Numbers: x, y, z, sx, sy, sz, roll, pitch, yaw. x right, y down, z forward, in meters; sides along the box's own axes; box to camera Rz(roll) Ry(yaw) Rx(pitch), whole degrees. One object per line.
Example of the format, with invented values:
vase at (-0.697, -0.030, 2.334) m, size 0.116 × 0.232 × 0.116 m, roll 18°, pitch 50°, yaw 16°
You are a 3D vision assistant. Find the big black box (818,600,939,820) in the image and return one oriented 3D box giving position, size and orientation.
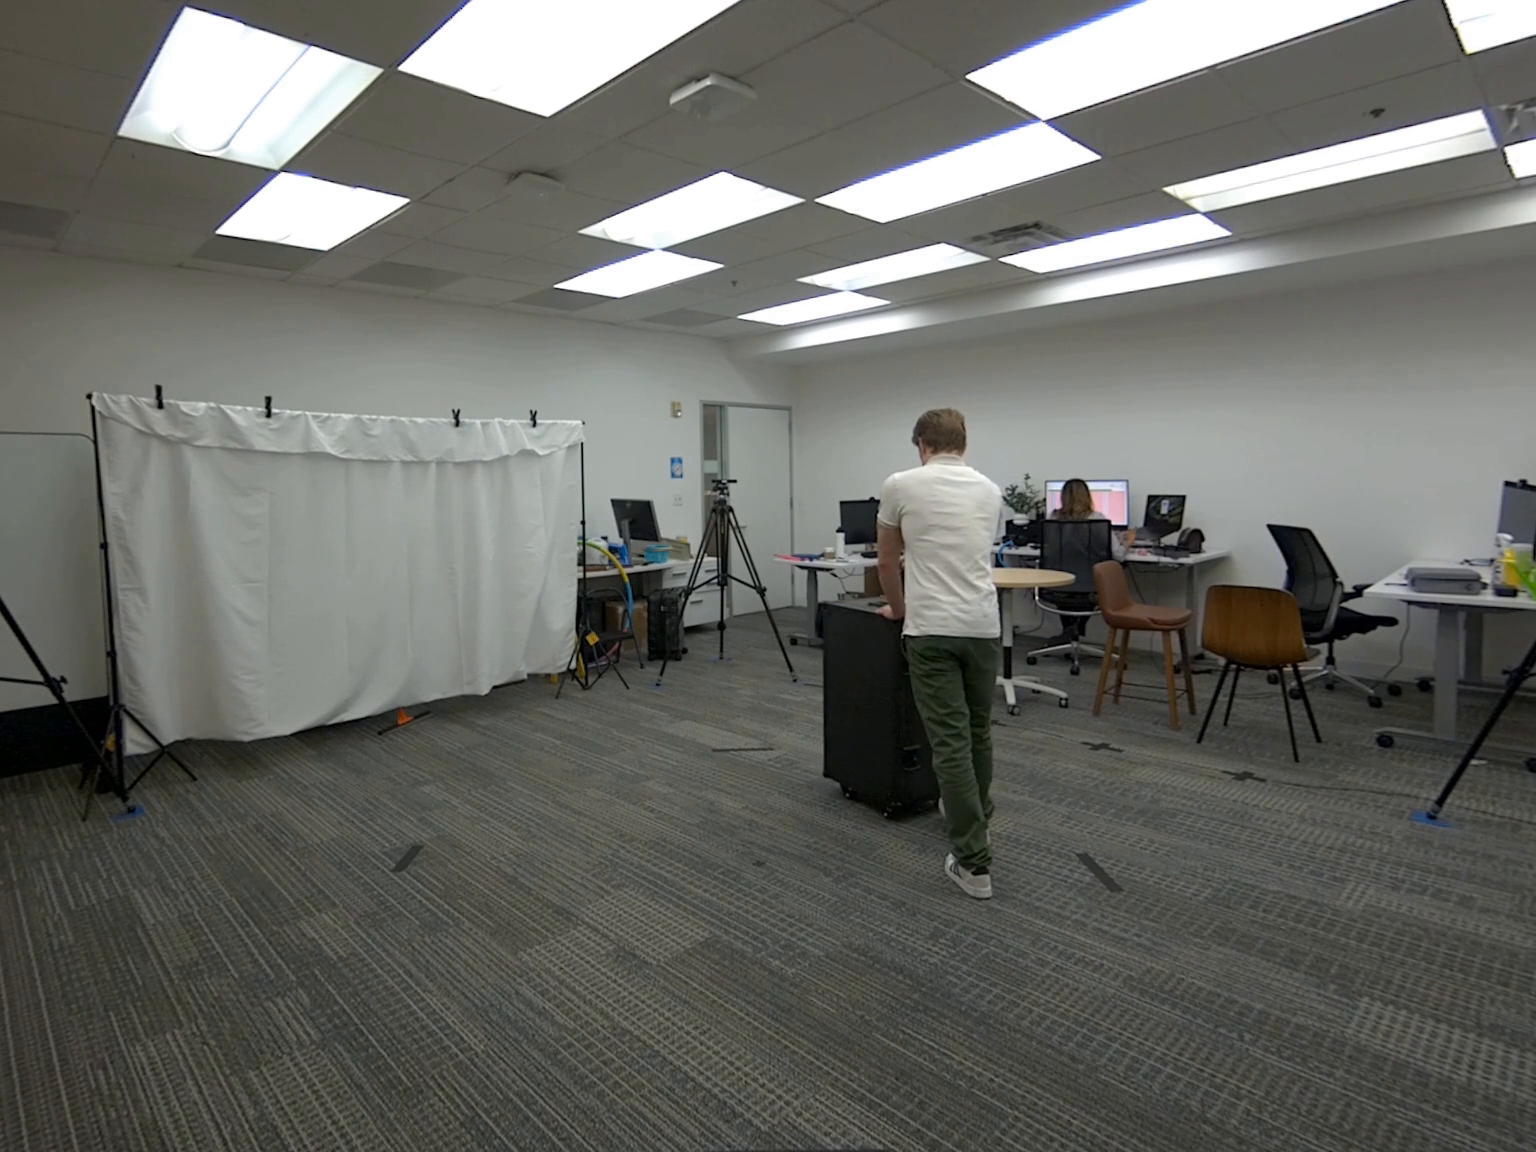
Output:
big black box at (0.520, 0.552, 3.687) m, size 0.376 × 0.865 × 0.538 m, roll -3°, pitch 5°, yaw -32°
